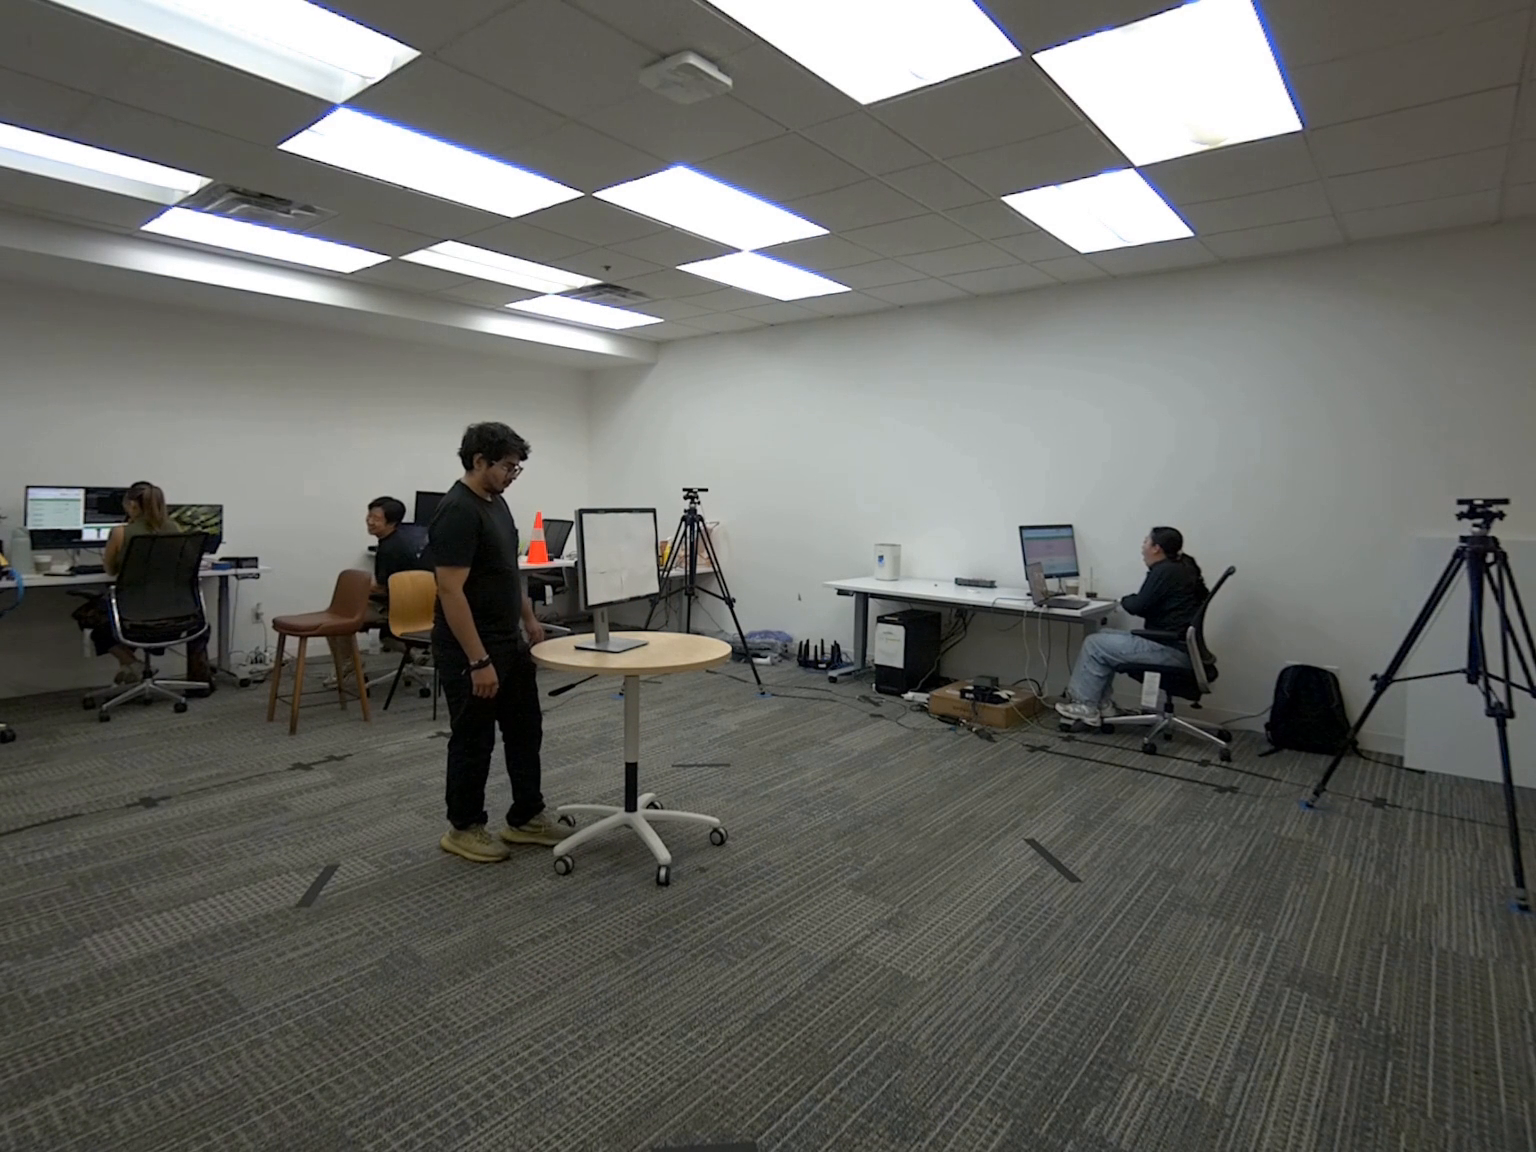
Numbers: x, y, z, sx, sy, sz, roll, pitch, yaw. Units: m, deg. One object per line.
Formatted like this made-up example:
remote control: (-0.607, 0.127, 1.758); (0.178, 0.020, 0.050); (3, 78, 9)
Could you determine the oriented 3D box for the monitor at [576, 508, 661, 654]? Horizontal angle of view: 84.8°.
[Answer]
monitor: (-0.638, 0.010, 3.296); (0.215, 0.553, 0.553); (-1, 3, 23)
